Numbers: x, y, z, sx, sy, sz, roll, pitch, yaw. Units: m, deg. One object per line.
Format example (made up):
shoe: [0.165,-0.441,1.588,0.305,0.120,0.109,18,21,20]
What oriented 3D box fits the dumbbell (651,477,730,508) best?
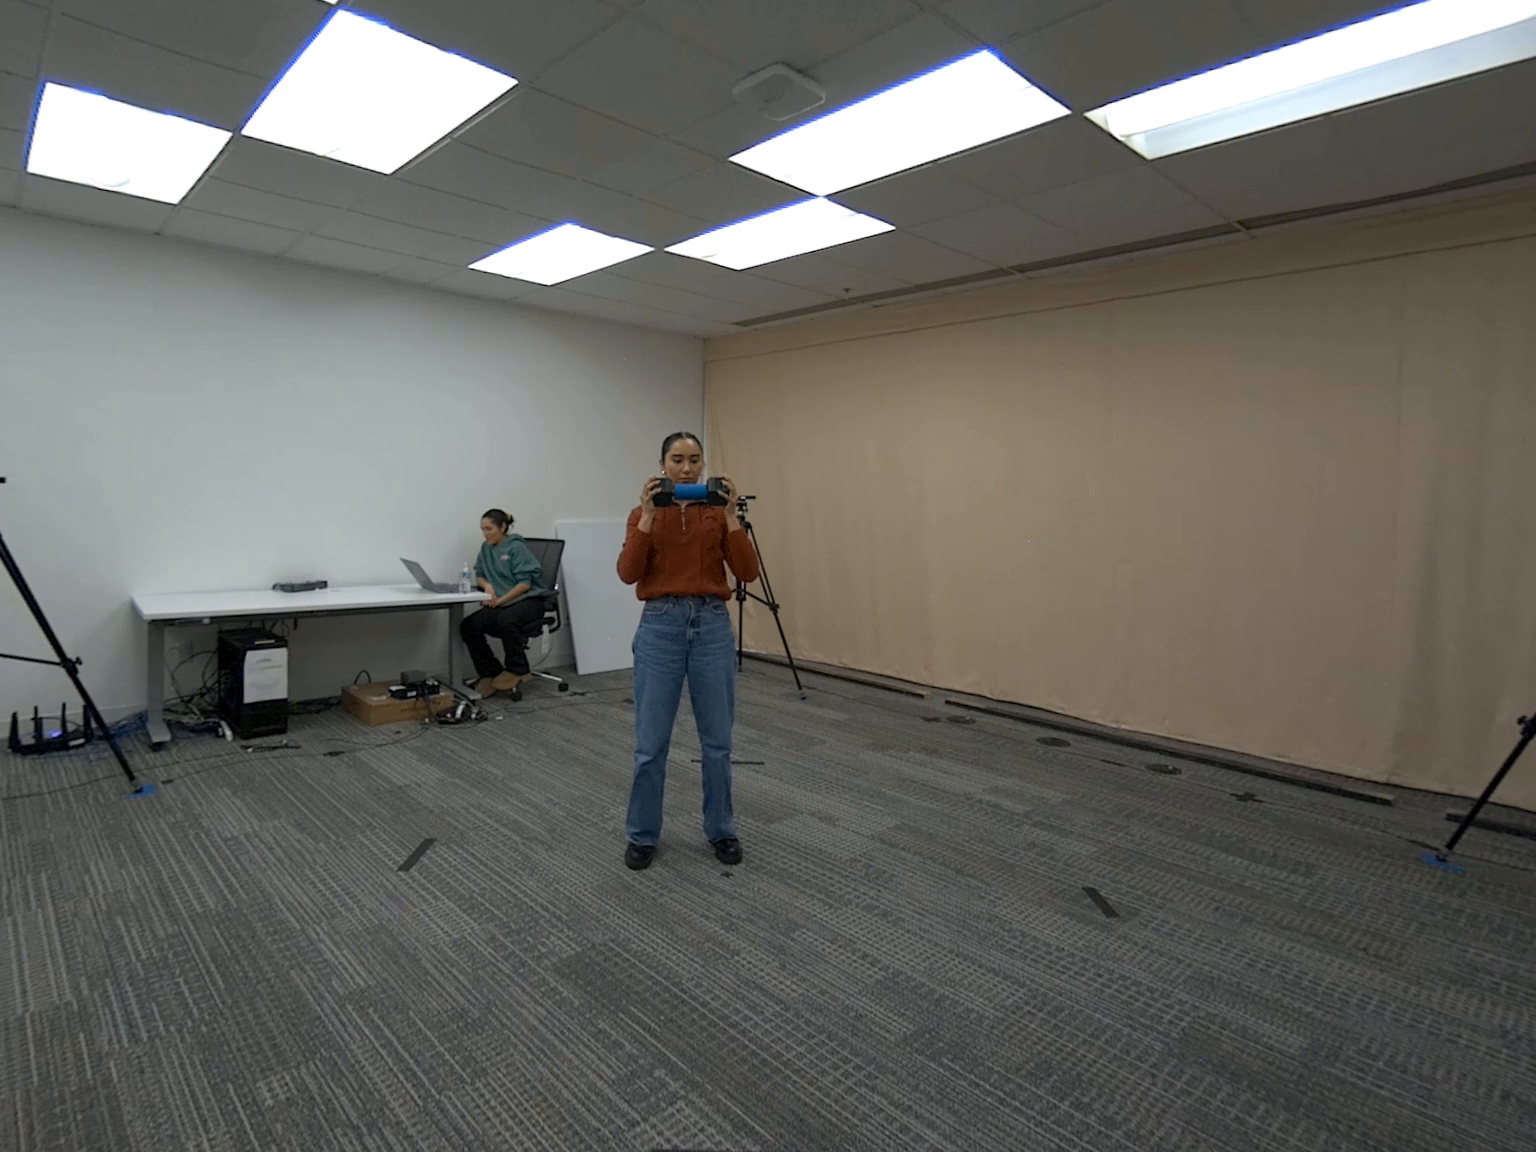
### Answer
dumbbell: [-0.303,-0.310,3.134,0.292,0.125,0.107,-2,-31,-5]
